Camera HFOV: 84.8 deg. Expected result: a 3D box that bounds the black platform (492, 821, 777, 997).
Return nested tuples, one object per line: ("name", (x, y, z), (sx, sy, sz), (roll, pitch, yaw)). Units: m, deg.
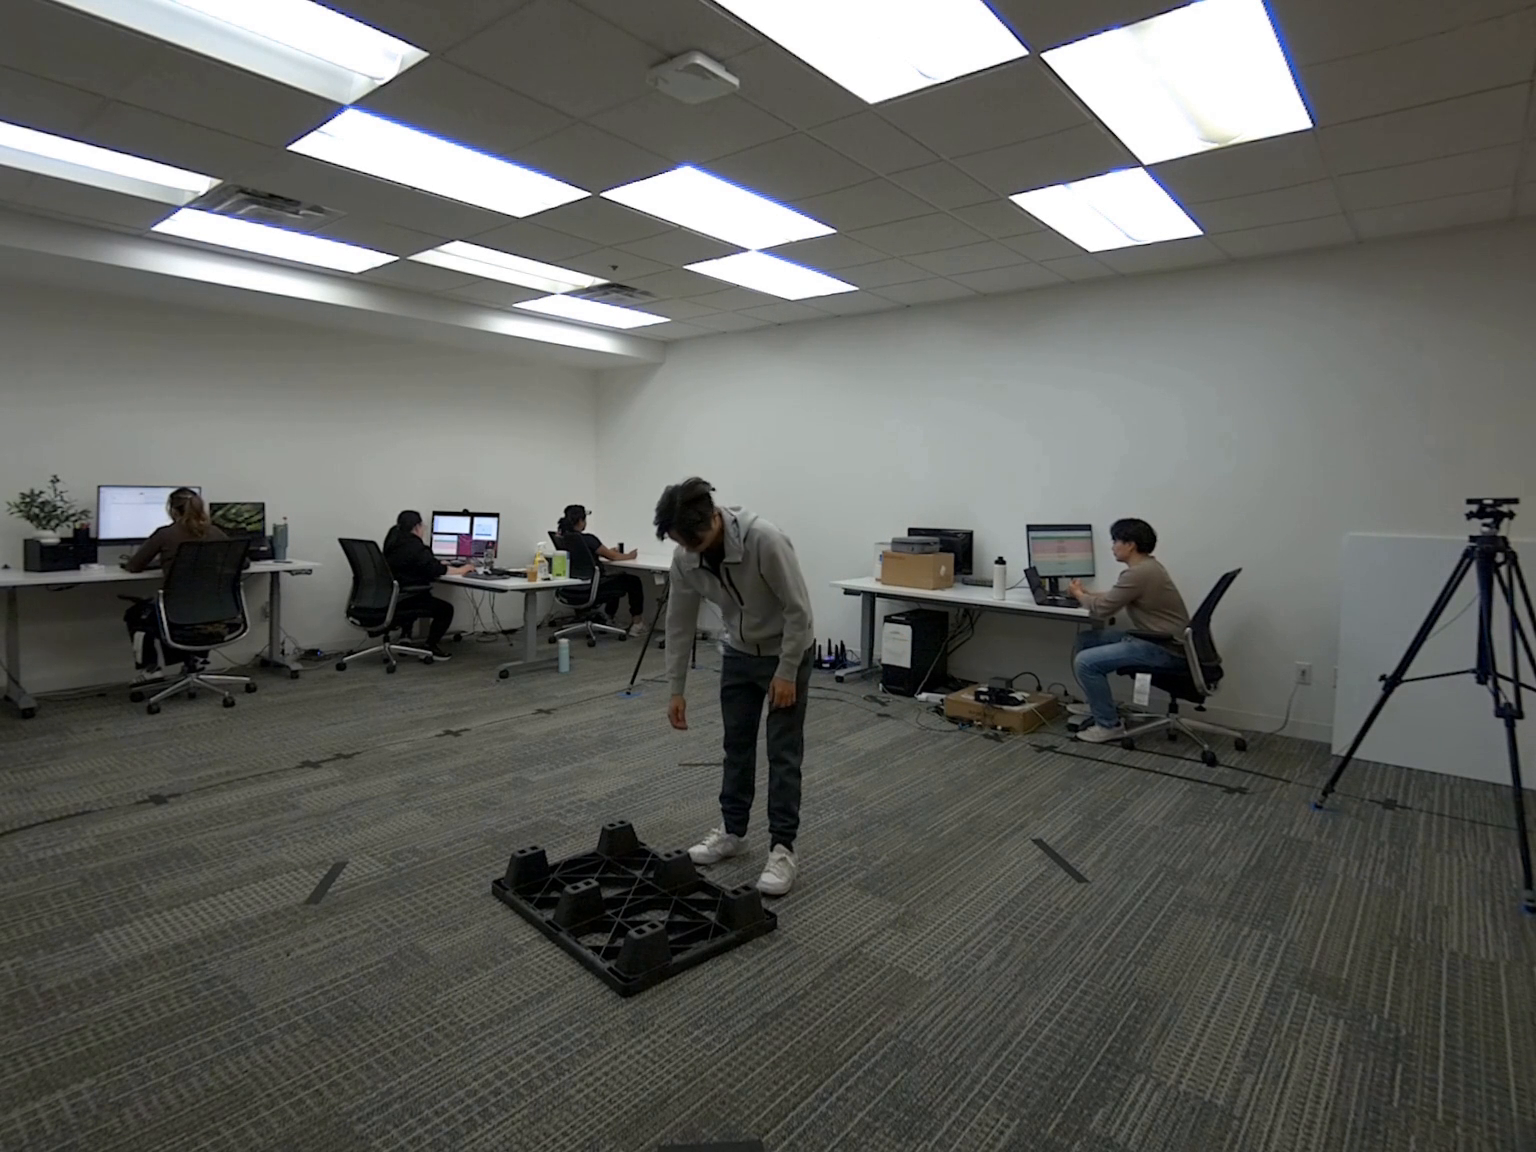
("black platform", (-0.470, 1.028, 2.790), (0.587, 0.143, 0.833), (-4, 7, -44))
